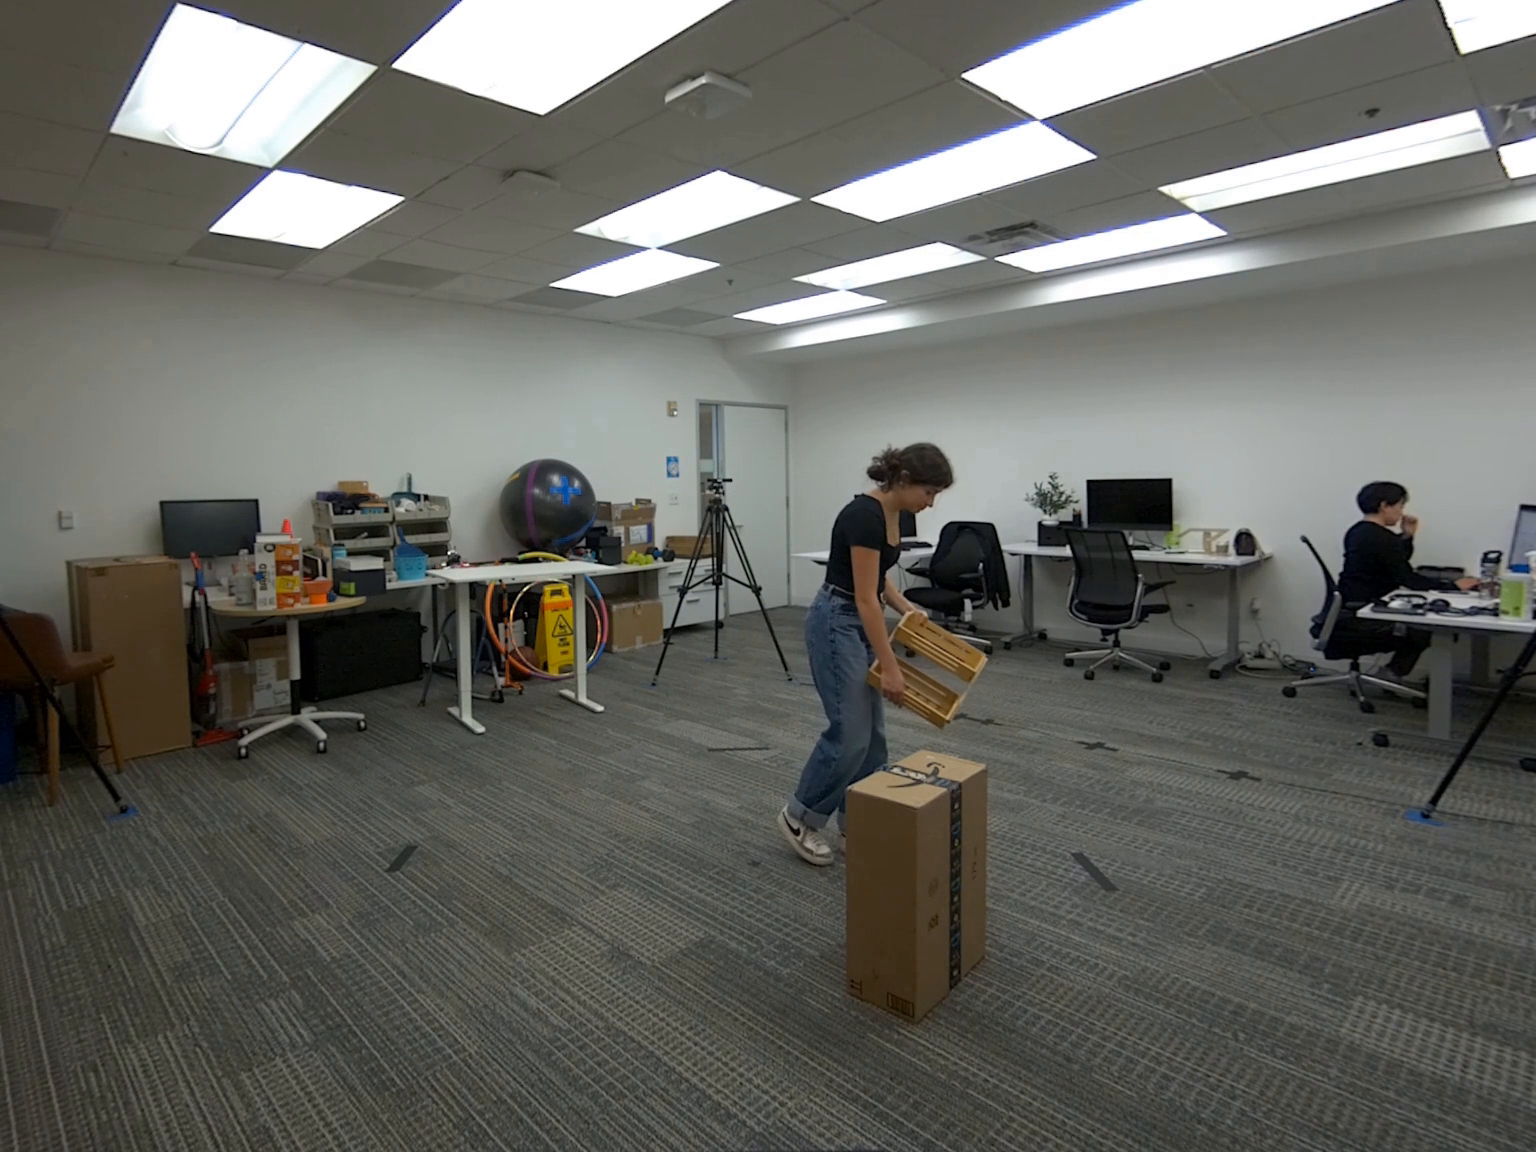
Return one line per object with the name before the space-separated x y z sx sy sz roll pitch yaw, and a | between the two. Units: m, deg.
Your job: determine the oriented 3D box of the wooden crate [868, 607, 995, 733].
wooden crate | 0.561 0.310 2.979 0.332 0.272 0.296 31 9 17
